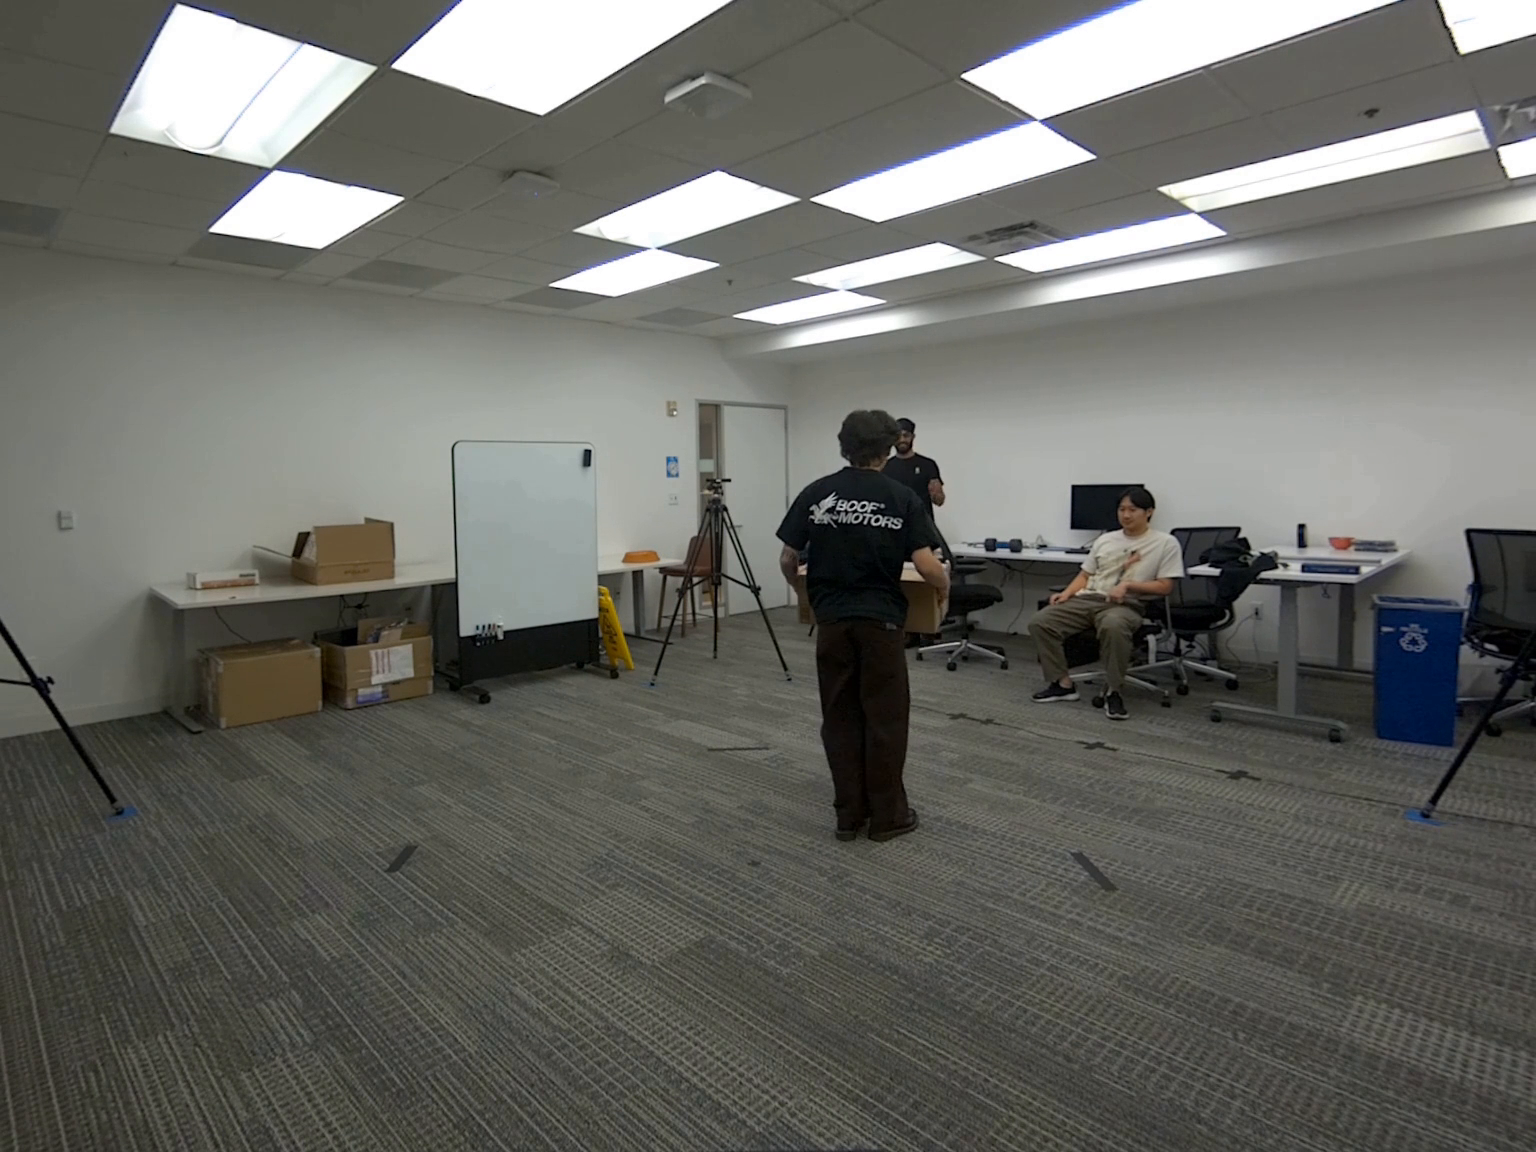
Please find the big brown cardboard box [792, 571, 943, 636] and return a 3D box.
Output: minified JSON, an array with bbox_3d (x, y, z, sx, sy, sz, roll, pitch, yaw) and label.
[{"bbox_3d":[0.469,0.072,3.665,0.600,0.231,0.413,1,10,20],"label":"big brown cardboard box"}]
